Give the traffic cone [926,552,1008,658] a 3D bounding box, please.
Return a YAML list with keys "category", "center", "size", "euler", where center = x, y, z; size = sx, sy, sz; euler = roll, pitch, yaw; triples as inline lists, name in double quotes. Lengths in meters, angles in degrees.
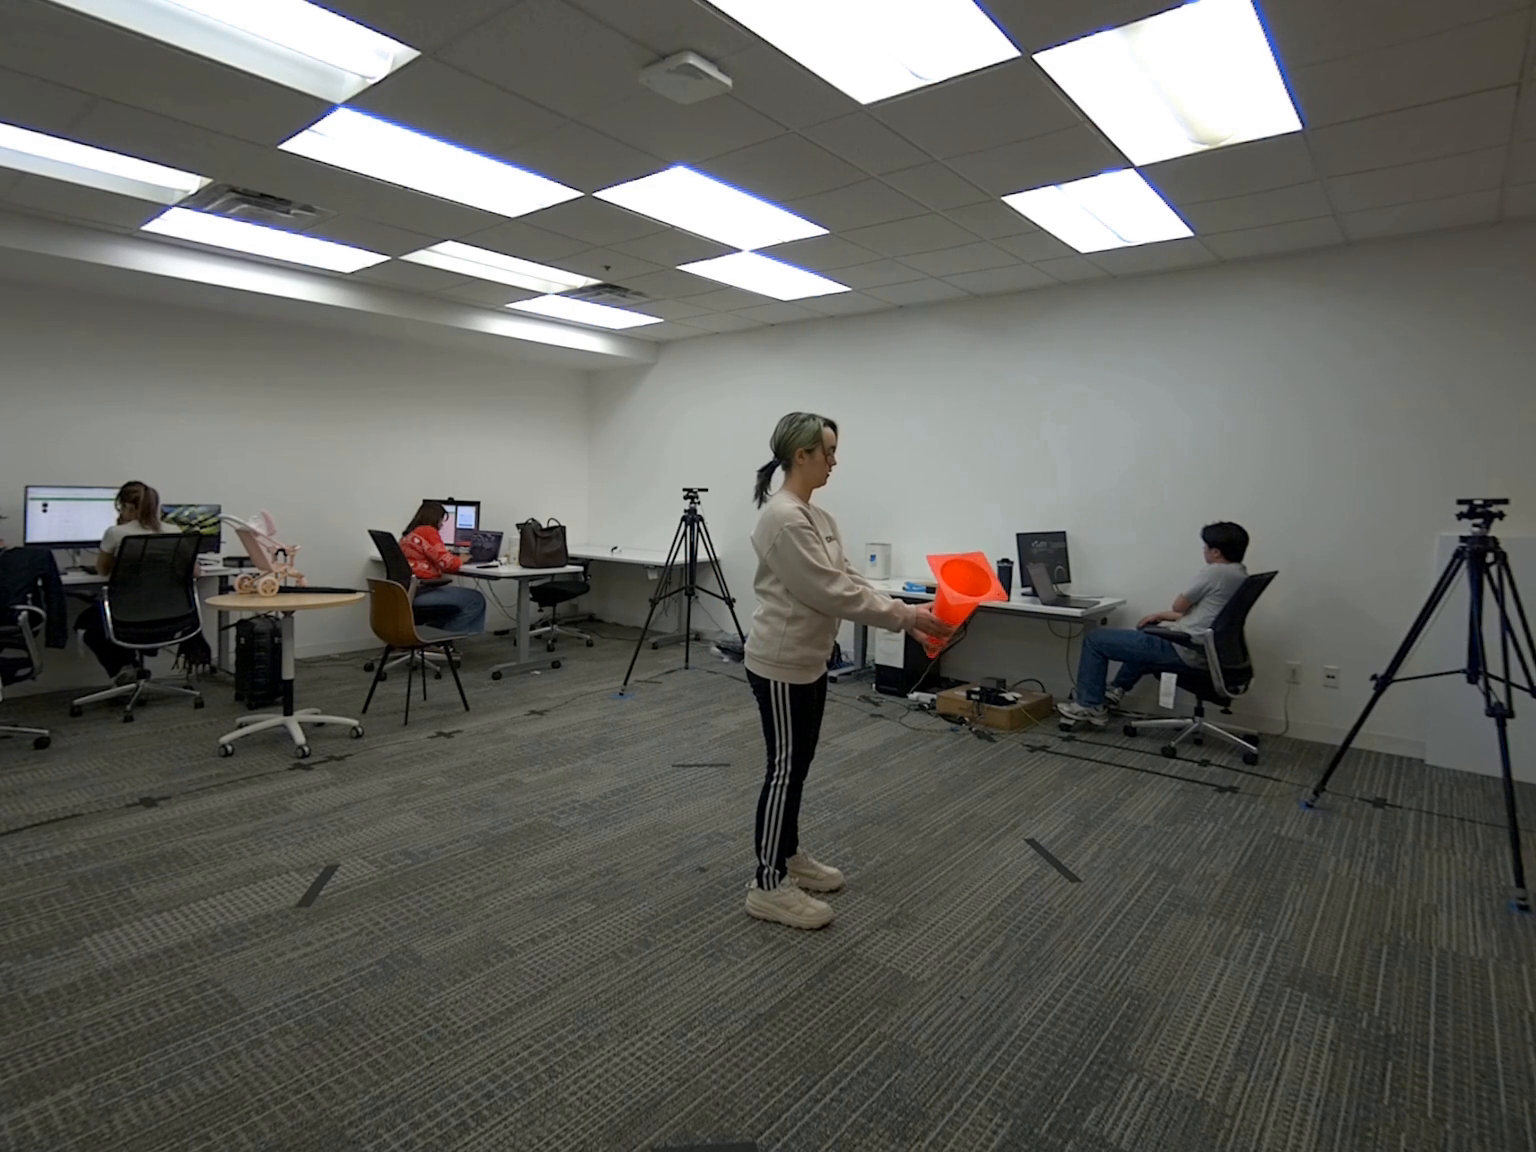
- category: "traffic cone"
  center: [0.558, 0.133, 2.695]
  size: [0.201, 0.375, 0.211]
  euler: [-4, 46, -19]
